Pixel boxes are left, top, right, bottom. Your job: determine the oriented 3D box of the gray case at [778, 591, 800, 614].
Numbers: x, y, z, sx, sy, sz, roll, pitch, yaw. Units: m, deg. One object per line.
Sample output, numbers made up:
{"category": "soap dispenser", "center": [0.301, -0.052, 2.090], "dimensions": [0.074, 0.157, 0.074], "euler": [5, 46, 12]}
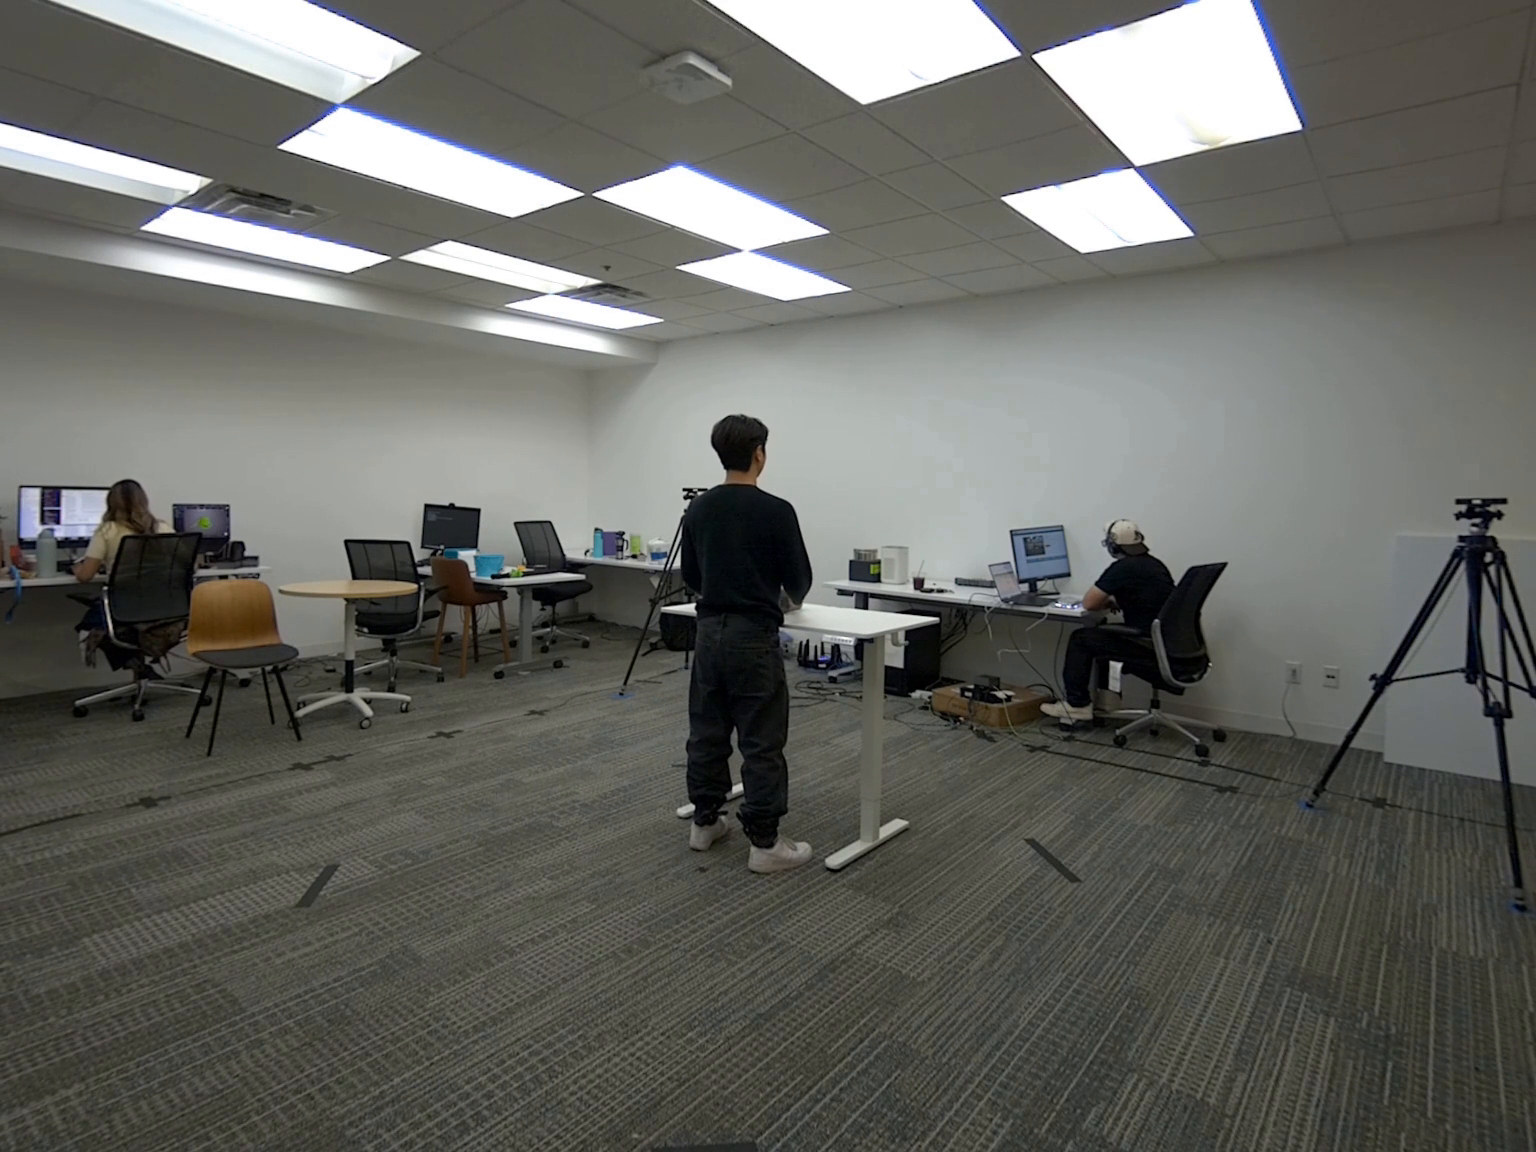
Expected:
{"category": "gray case", "center": [-0.010, 0.087, 3.652], "dimensions": [0.265, 0.104, 0.253], "euler": [5, 6, 34]}
